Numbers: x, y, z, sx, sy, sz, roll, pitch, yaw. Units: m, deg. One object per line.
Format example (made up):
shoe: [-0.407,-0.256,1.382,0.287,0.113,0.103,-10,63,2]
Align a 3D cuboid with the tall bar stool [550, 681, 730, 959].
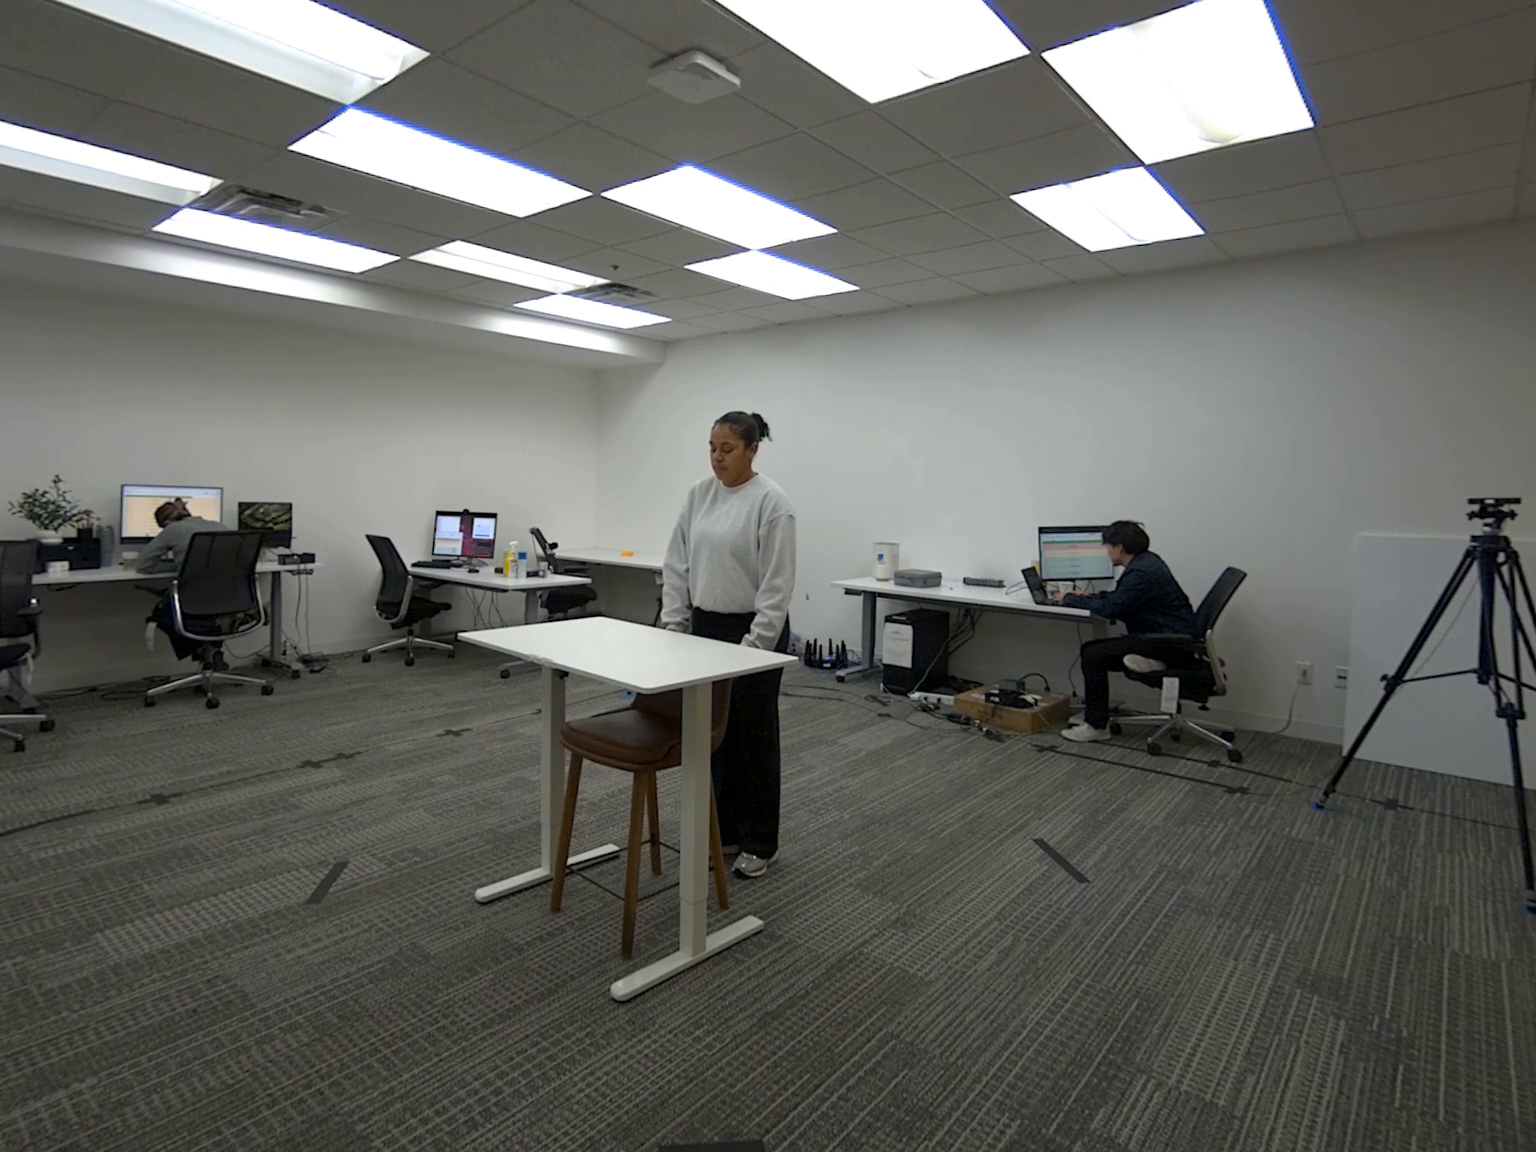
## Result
tall bar stool: [-0.406,0.662,2.780,0.472,0.888,0.452,5,3,44]
